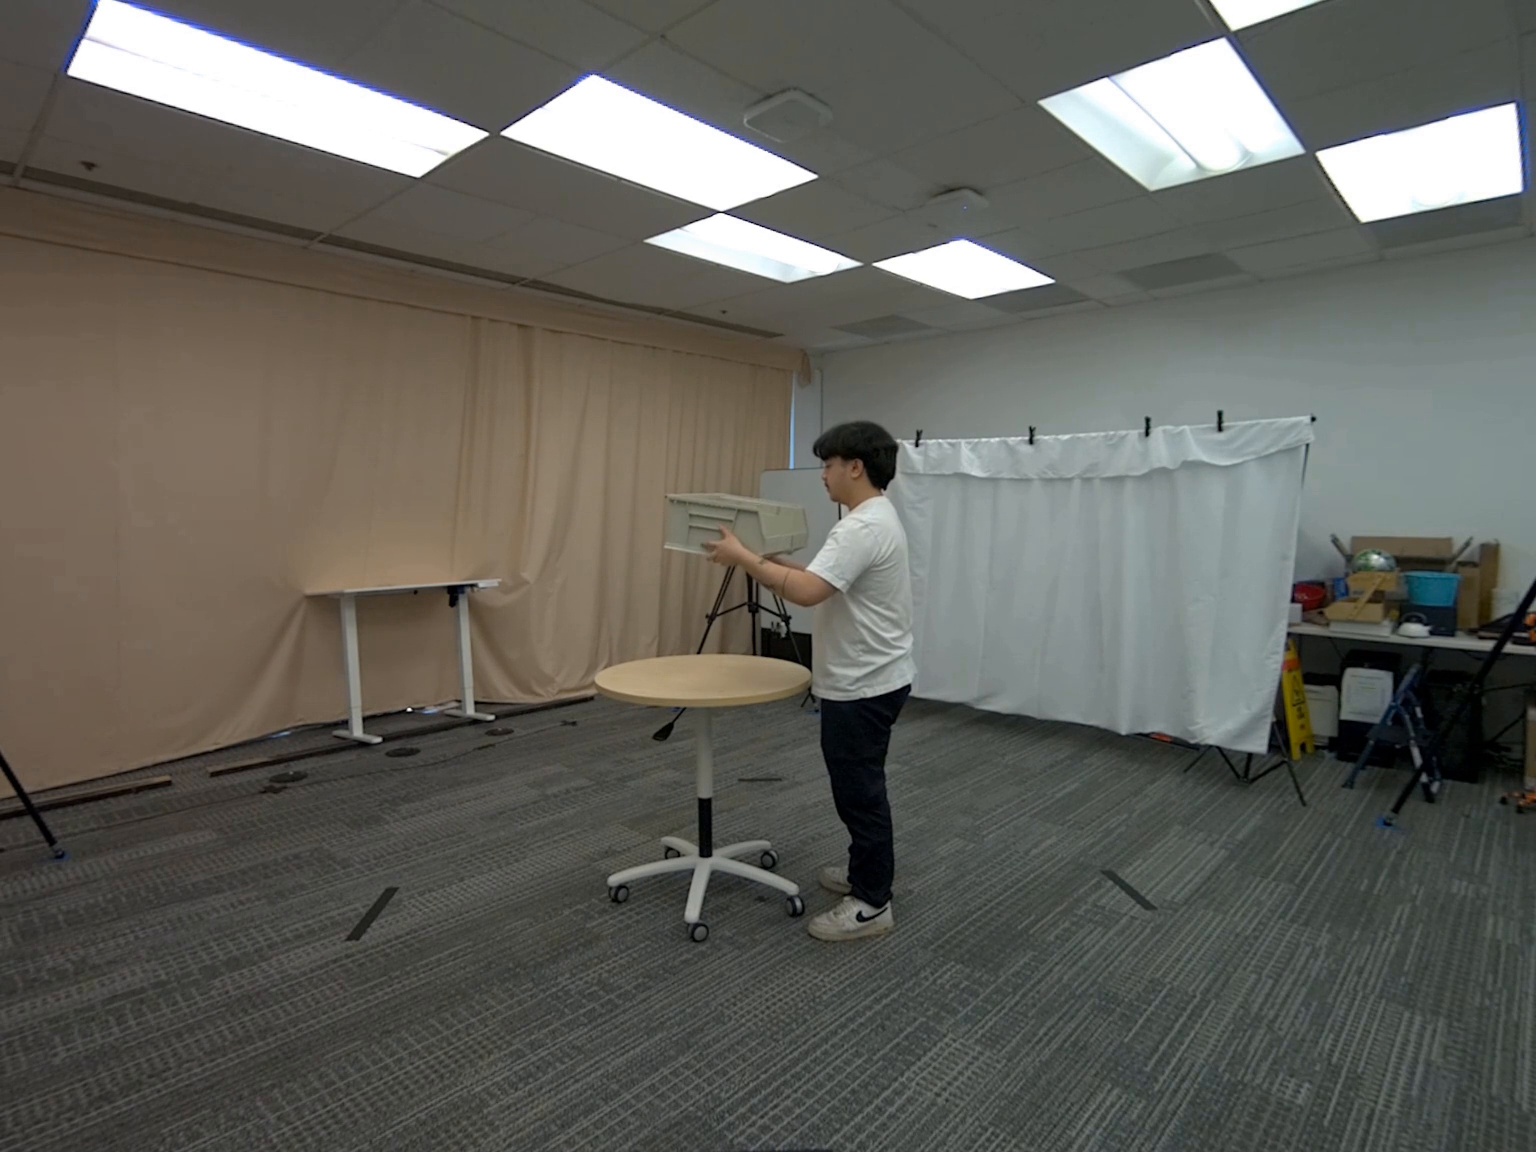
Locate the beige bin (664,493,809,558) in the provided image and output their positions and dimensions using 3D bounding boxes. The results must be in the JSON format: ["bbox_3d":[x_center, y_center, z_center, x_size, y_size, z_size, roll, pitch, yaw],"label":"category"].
[{"bbox_3d":[-0.096,-0.167,2.914,0.387,0.188,0.413,9,9,22],"label":"beige bin"}]
